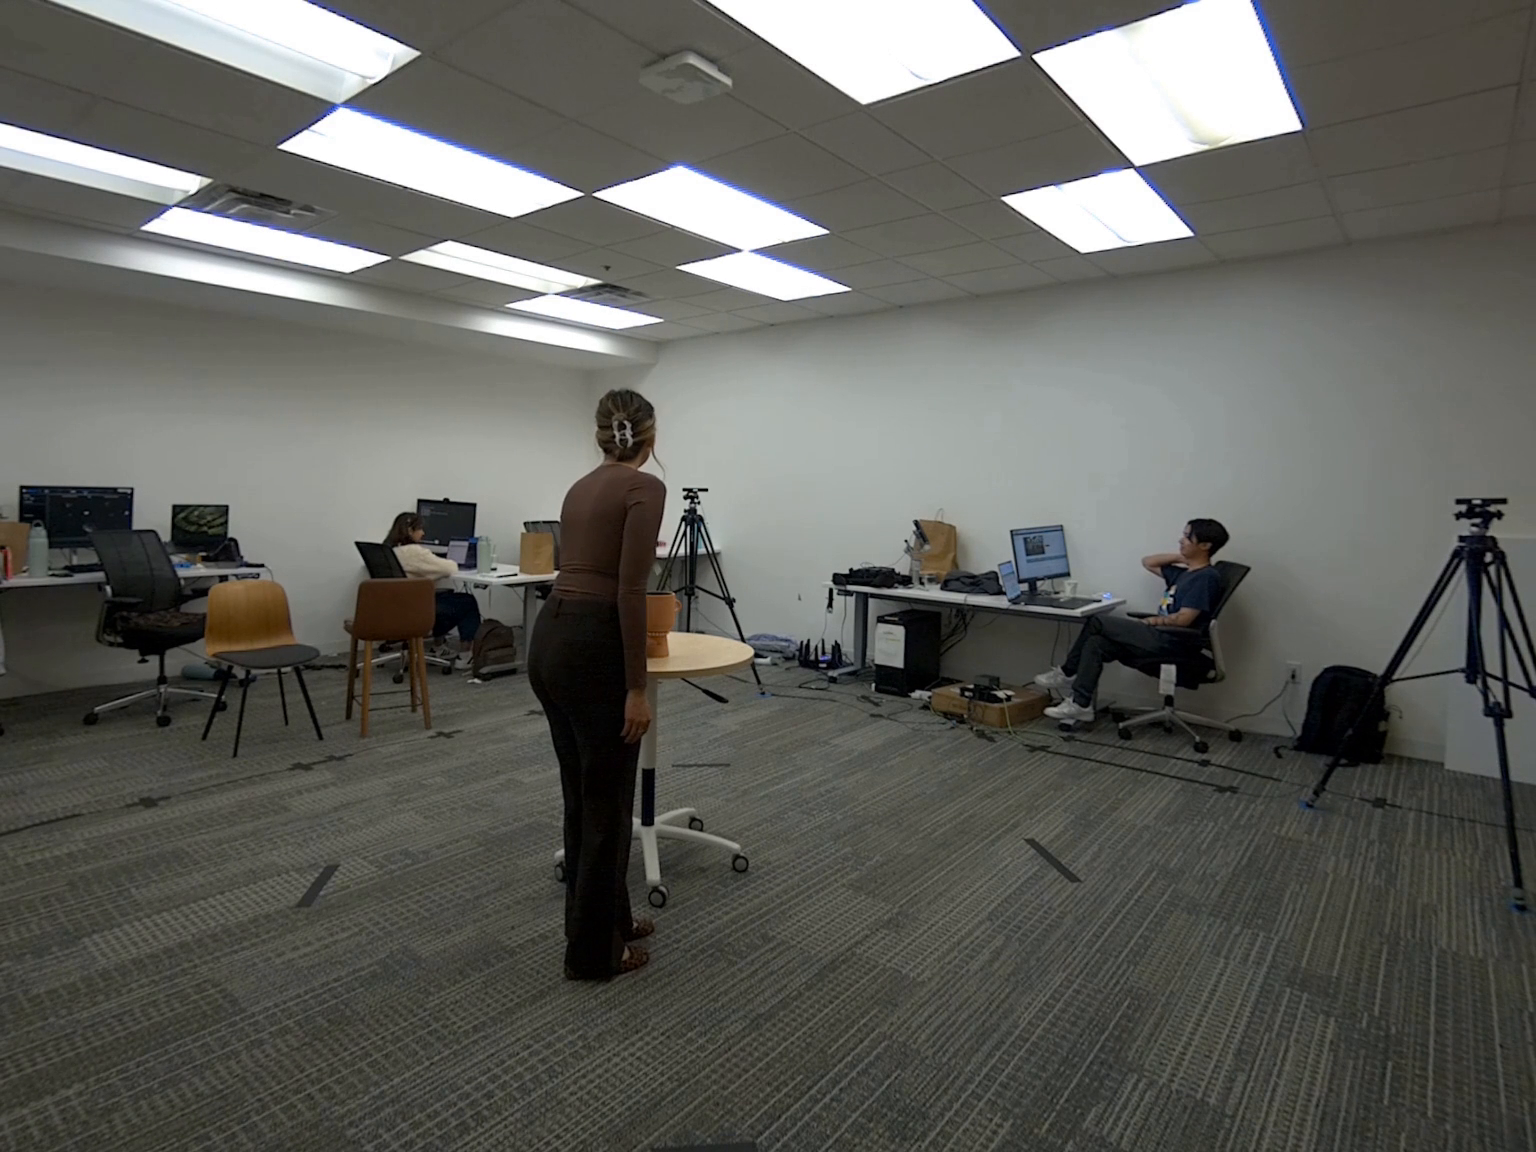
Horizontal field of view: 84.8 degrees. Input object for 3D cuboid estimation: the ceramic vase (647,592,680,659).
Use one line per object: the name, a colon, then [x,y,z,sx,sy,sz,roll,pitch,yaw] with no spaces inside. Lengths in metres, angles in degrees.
ceramic vase: [-0.406,0.170,3.003,0.160,0.219,0.134,1,5,7]
